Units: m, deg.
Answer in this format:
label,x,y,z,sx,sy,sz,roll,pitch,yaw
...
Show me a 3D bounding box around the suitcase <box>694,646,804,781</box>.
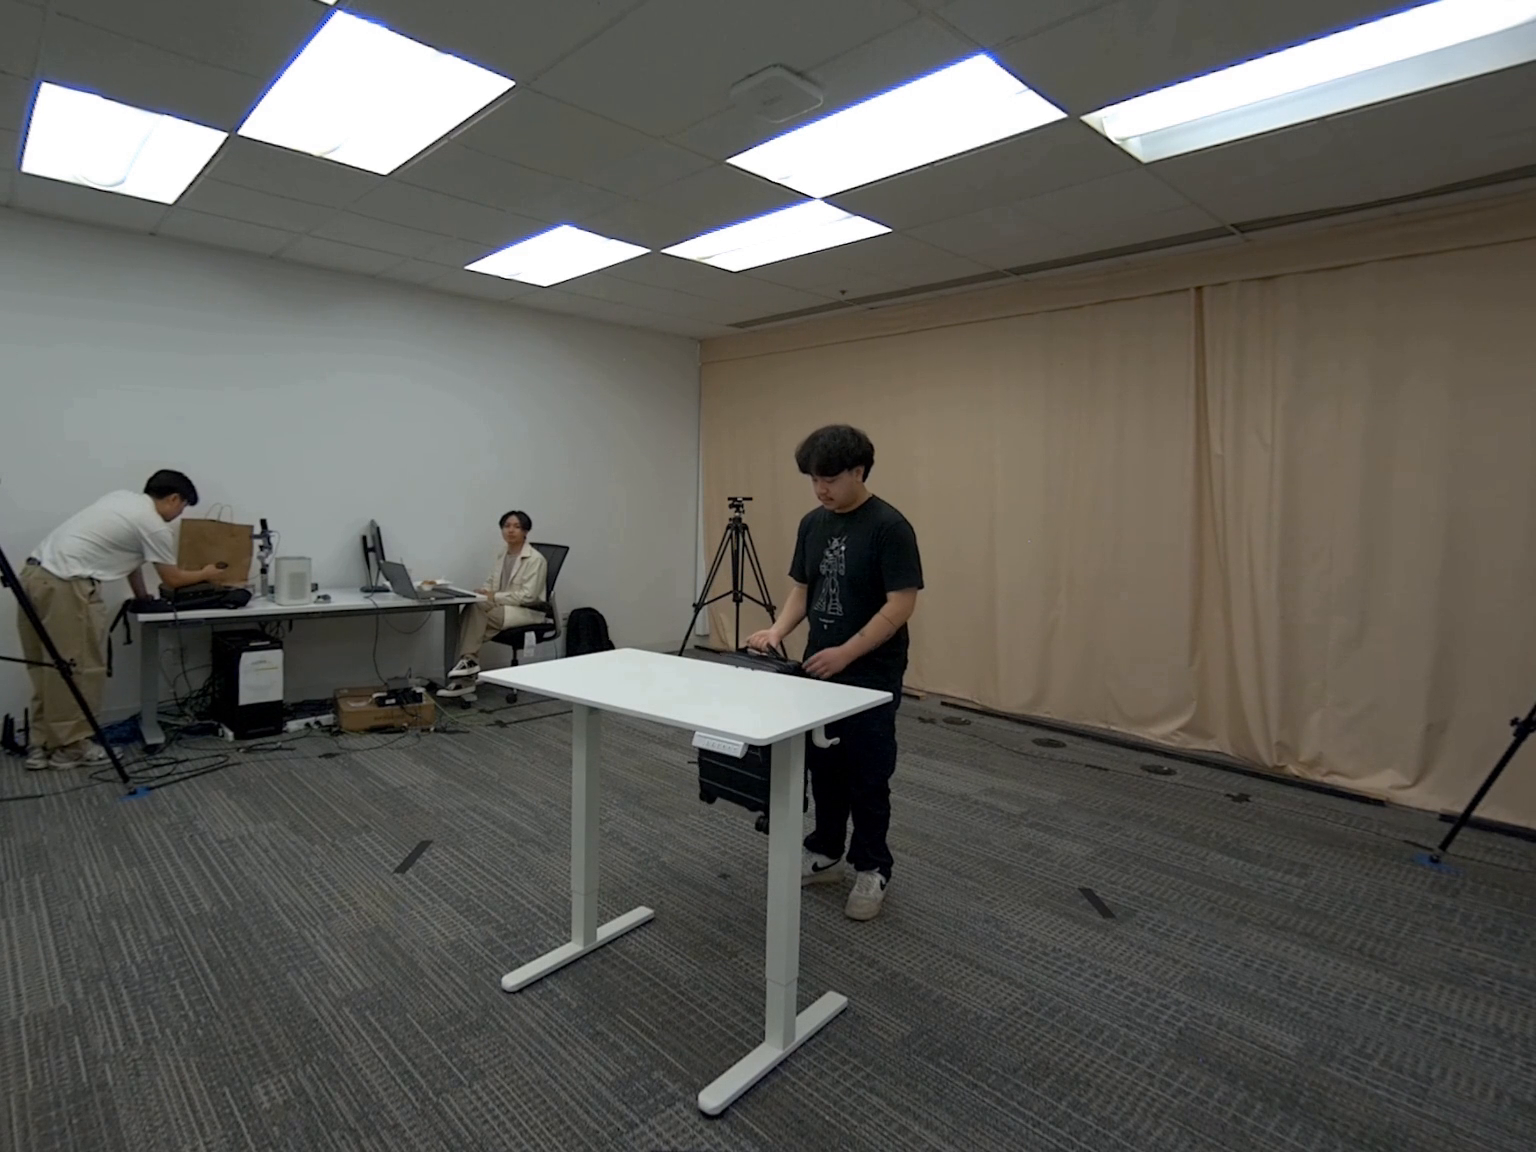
label,x,y,z,sx,sy,sz,roll,pitch,yaw
suitcase,-0.054,0.549,2.939,0.385,0.546,0.243,8,12,41
